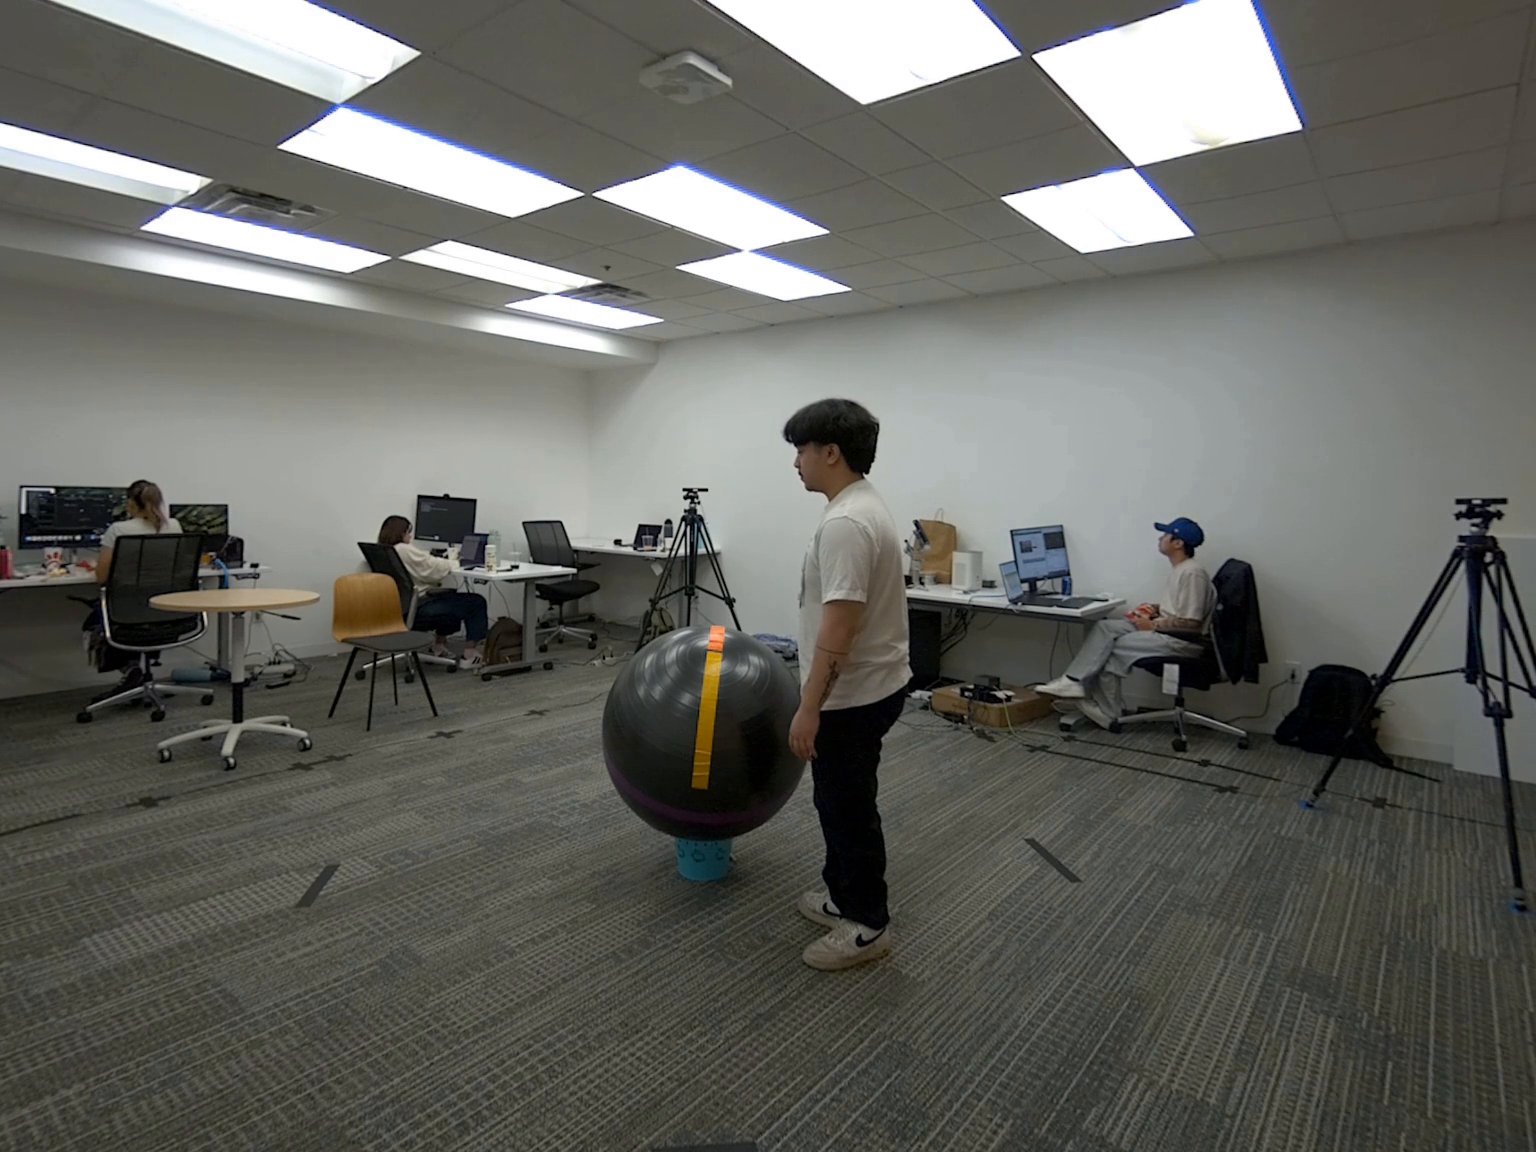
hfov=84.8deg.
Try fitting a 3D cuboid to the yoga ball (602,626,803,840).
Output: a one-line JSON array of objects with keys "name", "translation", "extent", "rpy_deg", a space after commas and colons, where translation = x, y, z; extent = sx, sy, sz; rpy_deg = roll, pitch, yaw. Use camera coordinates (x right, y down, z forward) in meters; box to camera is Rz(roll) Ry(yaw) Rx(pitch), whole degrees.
[{"name": "yoga ball", "translation": [-0.230, 0.560, 3.085], "extent": [0.757, 0.756, 0.761], "rpy_deg": [1, 4, -2]}]
